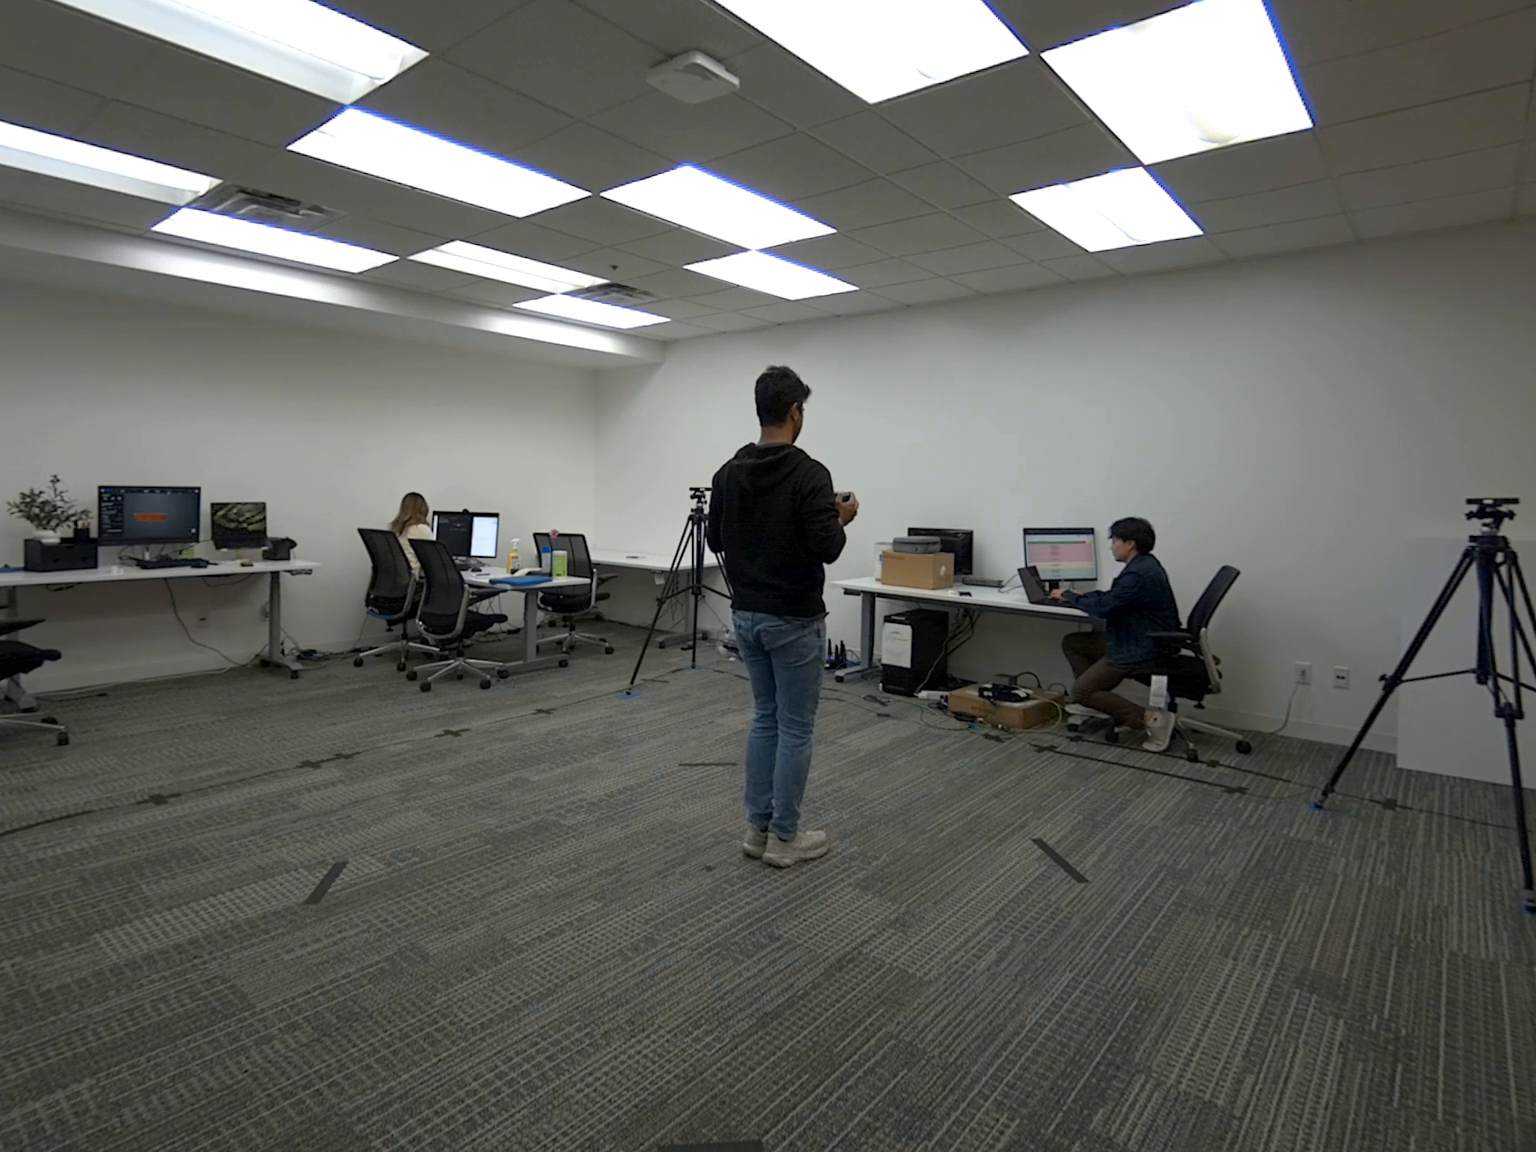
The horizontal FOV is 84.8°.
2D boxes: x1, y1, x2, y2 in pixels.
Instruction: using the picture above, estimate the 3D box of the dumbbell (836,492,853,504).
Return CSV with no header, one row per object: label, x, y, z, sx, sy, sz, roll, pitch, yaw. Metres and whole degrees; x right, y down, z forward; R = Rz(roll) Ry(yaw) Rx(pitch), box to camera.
dumbbell,0.165,-0.275,3.319,0.304,0.124,0.104,8,-17,40
